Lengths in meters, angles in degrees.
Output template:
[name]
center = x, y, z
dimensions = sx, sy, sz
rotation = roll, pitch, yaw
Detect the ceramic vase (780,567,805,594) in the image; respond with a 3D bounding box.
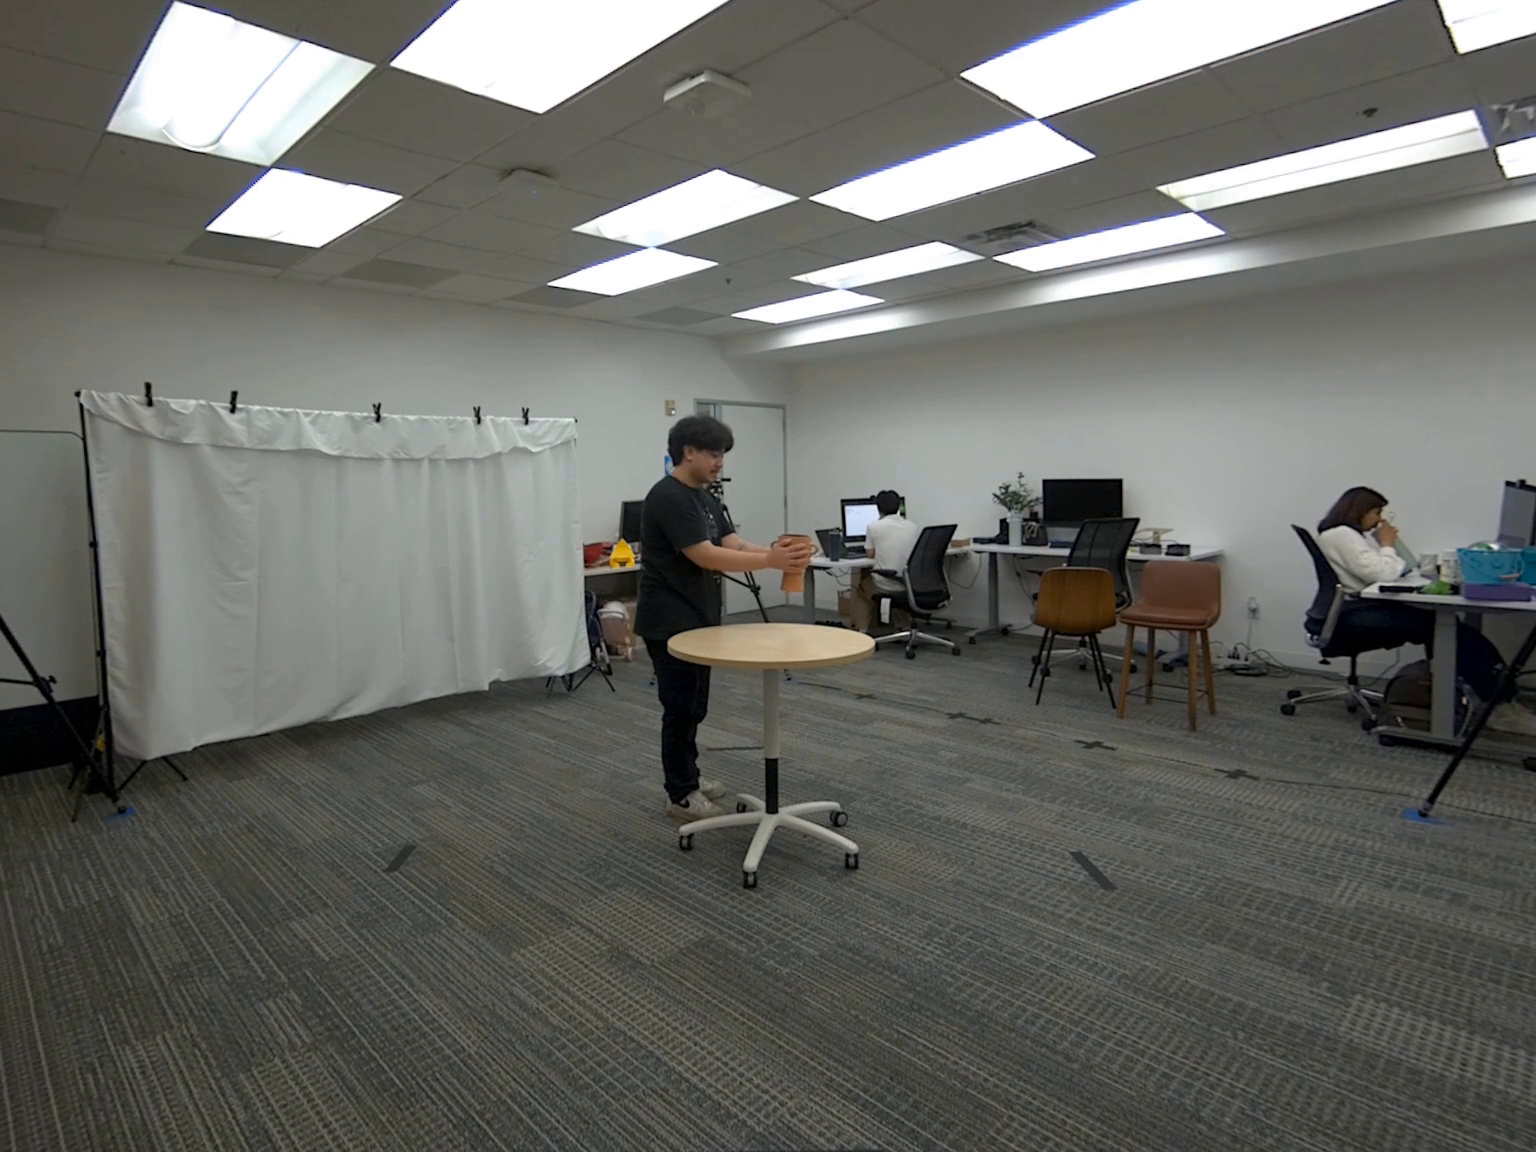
[ceramic vase]
center = 0.098, -0.050, 3.411
dimensions = 0.131, 0.218, 0.164
rotation = -2, 8, -32
